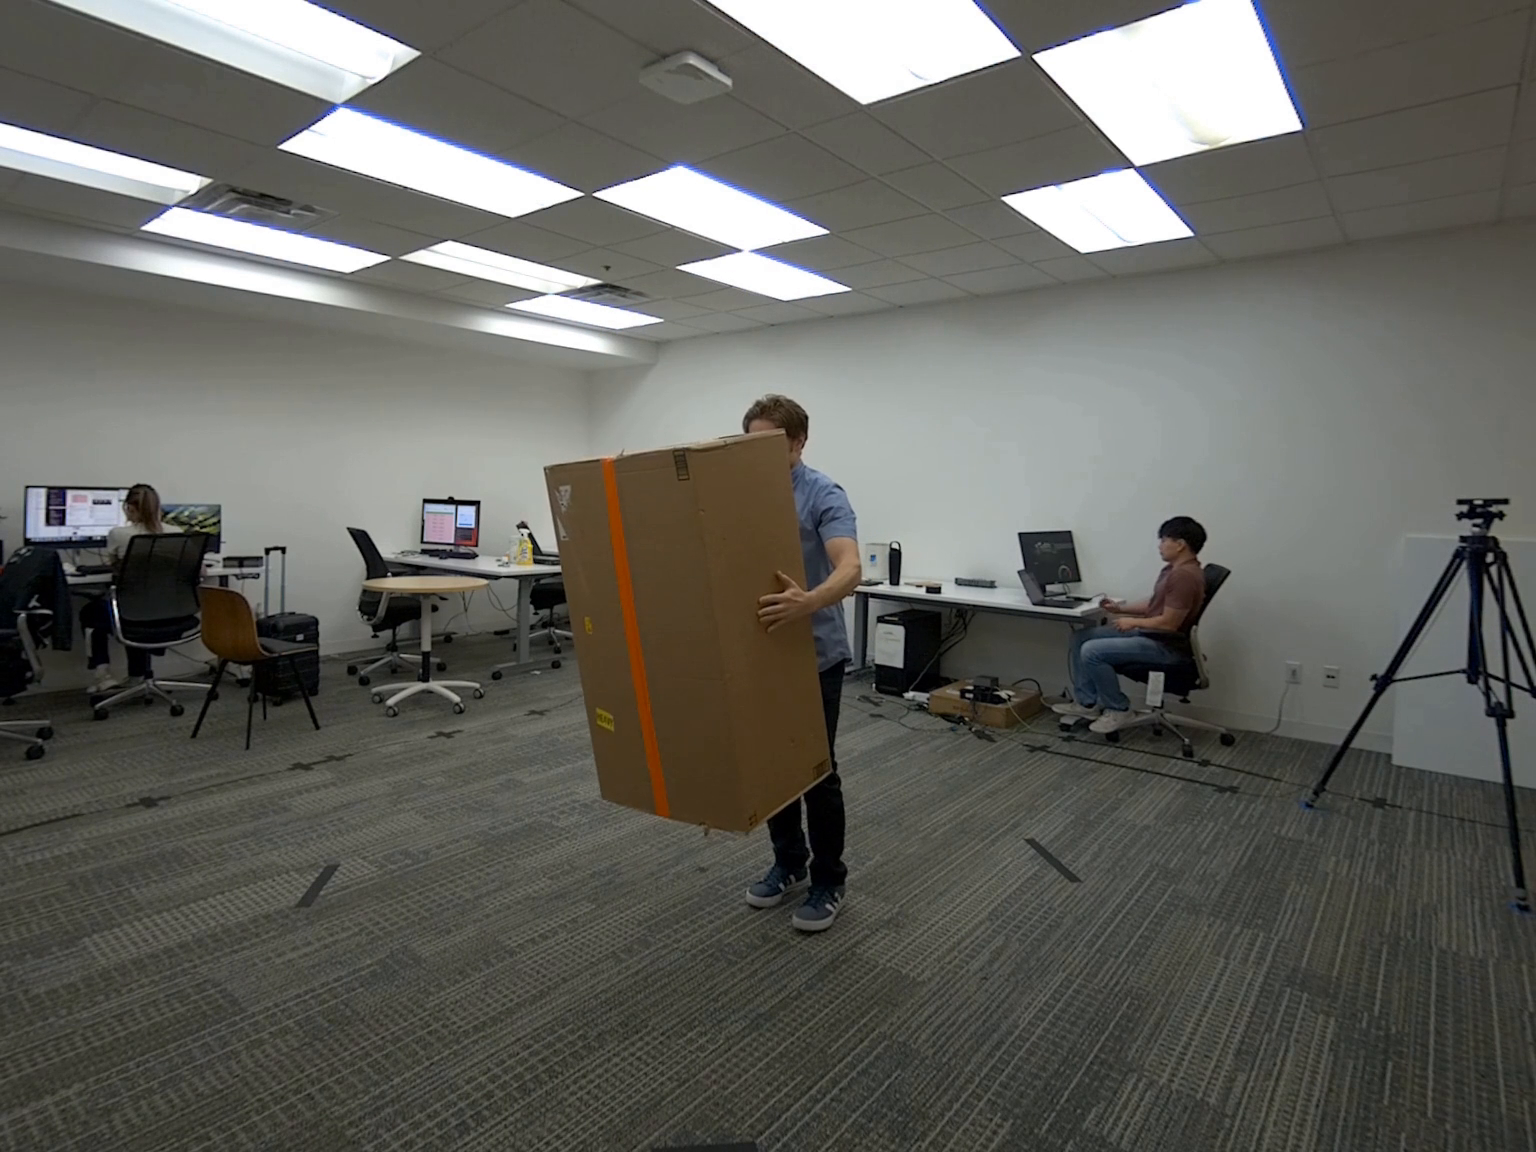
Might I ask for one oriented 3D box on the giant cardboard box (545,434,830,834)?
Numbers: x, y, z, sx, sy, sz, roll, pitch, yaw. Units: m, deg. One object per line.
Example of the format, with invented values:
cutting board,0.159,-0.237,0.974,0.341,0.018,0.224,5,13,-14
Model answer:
giant cardboard box,-0.240,0.135,2.473,0.595,1.018,0.417,-2,9,40
